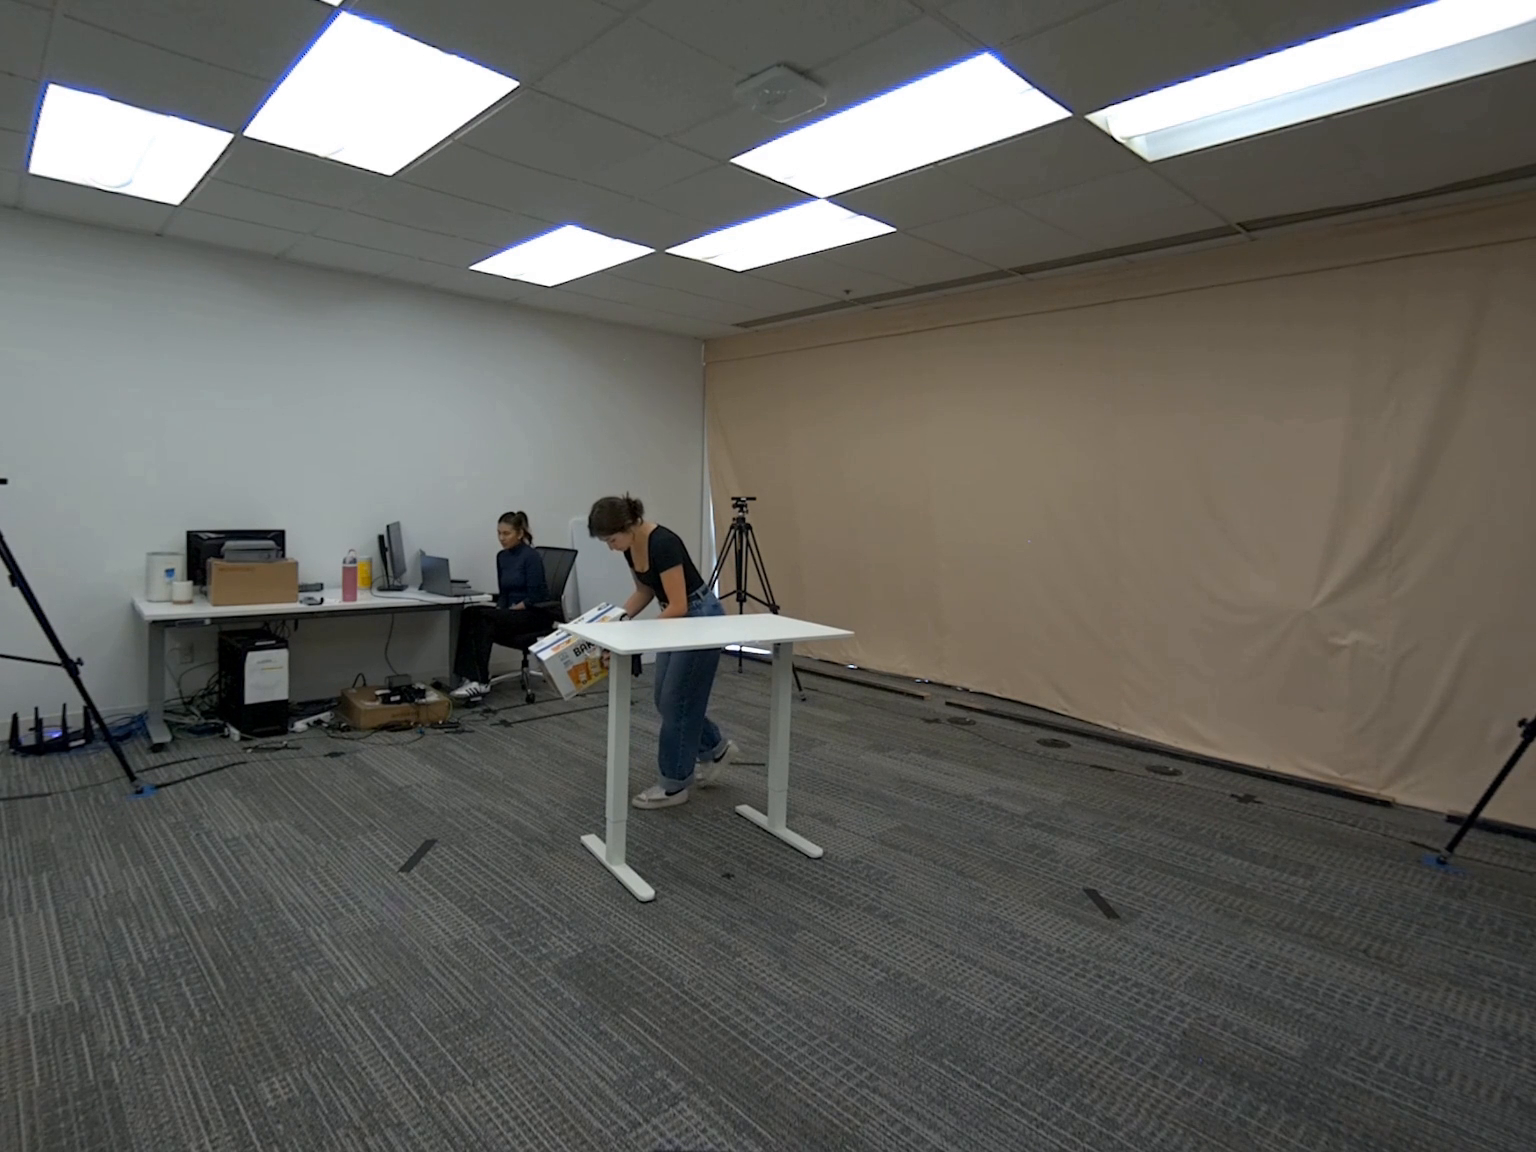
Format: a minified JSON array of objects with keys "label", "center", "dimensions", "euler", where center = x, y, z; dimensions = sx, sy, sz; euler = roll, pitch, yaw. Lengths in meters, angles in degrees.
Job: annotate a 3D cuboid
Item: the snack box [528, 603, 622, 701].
[{"label":"snack box","center":[-0.806,0.317,3.694],"dimensions":[0.403,0.203,0.347],"euler":[-32,16,-20]}]
